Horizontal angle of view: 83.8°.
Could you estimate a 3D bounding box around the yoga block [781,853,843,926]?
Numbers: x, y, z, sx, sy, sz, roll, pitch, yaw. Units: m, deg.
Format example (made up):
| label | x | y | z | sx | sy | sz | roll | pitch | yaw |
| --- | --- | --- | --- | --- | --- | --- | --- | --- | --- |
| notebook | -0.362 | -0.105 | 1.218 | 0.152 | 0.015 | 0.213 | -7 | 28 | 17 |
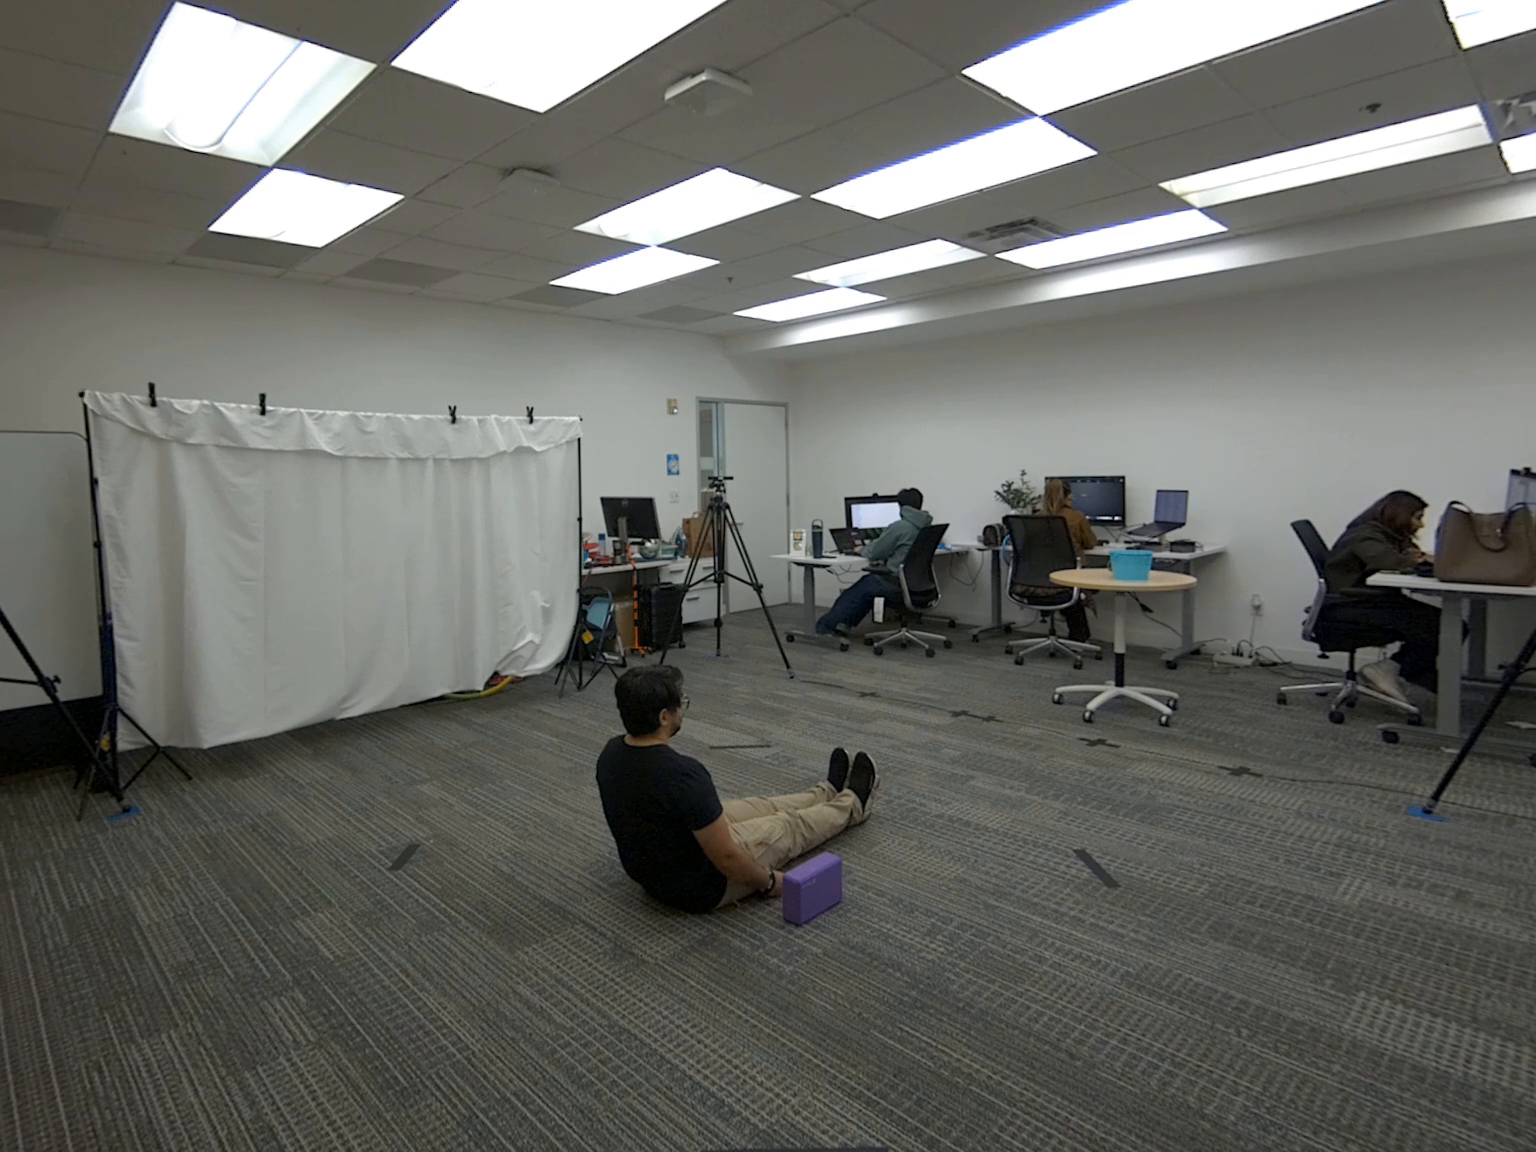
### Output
| label | x | y | z | sx | sy | sz | roll | pitch | yaw |
| --- | --- | --- | --- | --- | --- | --- | --- | --- | --- |
| yoga block | 0.146 | 0.996 | 2.736 | 0.079 | 0.148 | 0.223 | 5 | 7 | 43 |
